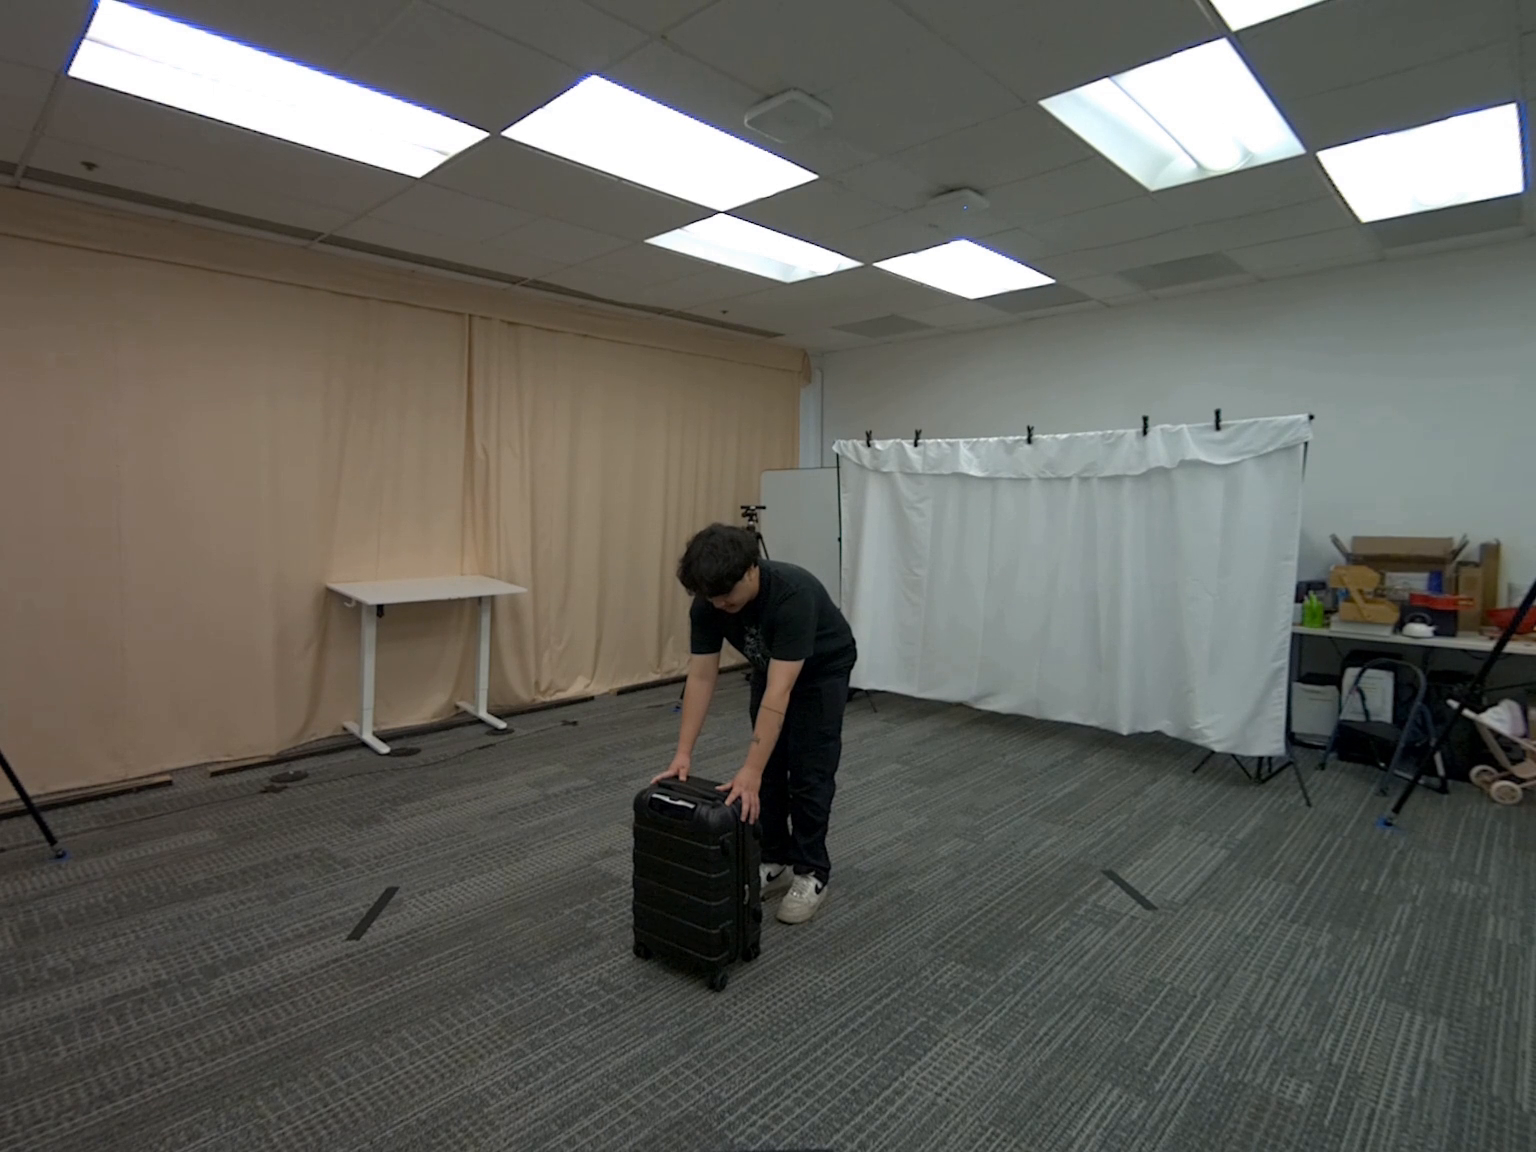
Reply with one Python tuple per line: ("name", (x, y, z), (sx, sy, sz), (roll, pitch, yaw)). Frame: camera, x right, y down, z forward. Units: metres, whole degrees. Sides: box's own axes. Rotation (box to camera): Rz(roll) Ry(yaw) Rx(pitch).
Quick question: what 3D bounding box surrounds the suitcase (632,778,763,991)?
("suitcase", (-0.222, 0.909, 2.566), (0.387, 0.548, 0.241), (2, 5, 35))
